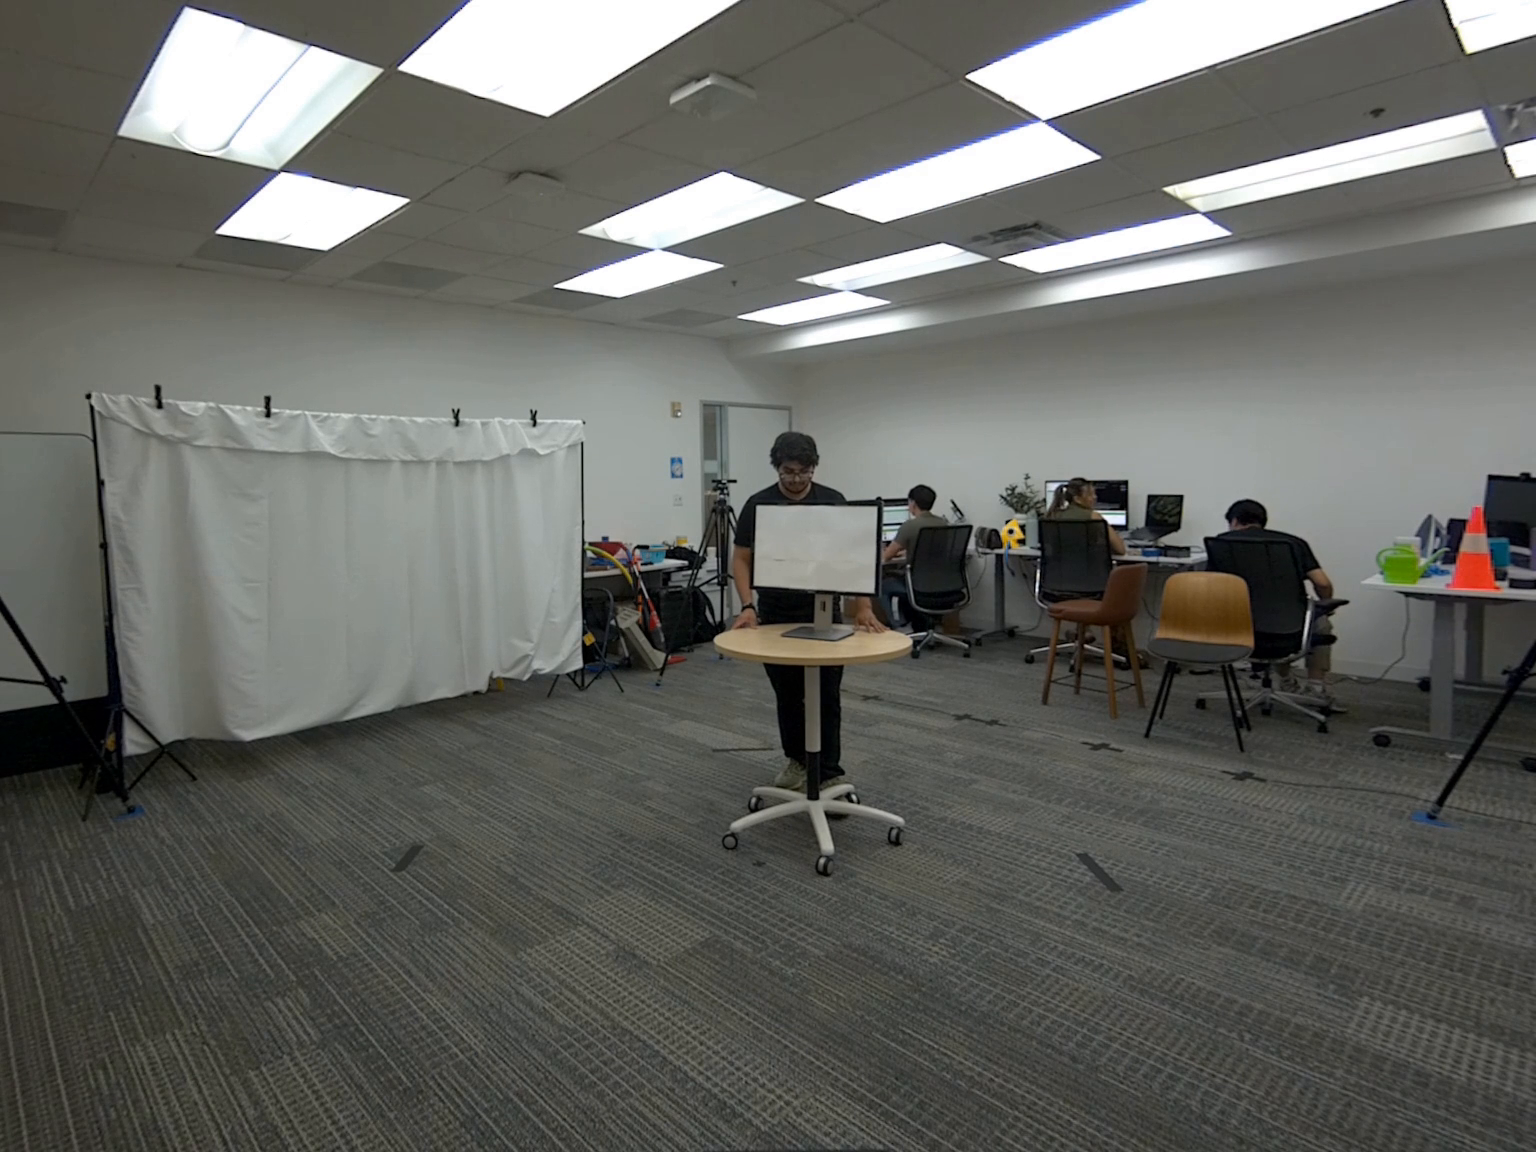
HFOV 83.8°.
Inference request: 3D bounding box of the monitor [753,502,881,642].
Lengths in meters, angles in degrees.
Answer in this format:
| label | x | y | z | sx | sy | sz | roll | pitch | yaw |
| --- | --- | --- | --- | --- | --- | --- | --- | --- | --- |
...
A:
| label | x | y | z | sx | sy | sz | roll | pitch | yaw |
| --- | --- | --- | --- | --- | --- | --- | --- | --- | --- |
| monitor | 0.215 | -0.026 | 3.415 | 0.581 | 0.553 | 0.205 | 2 | 3 | 32 |
